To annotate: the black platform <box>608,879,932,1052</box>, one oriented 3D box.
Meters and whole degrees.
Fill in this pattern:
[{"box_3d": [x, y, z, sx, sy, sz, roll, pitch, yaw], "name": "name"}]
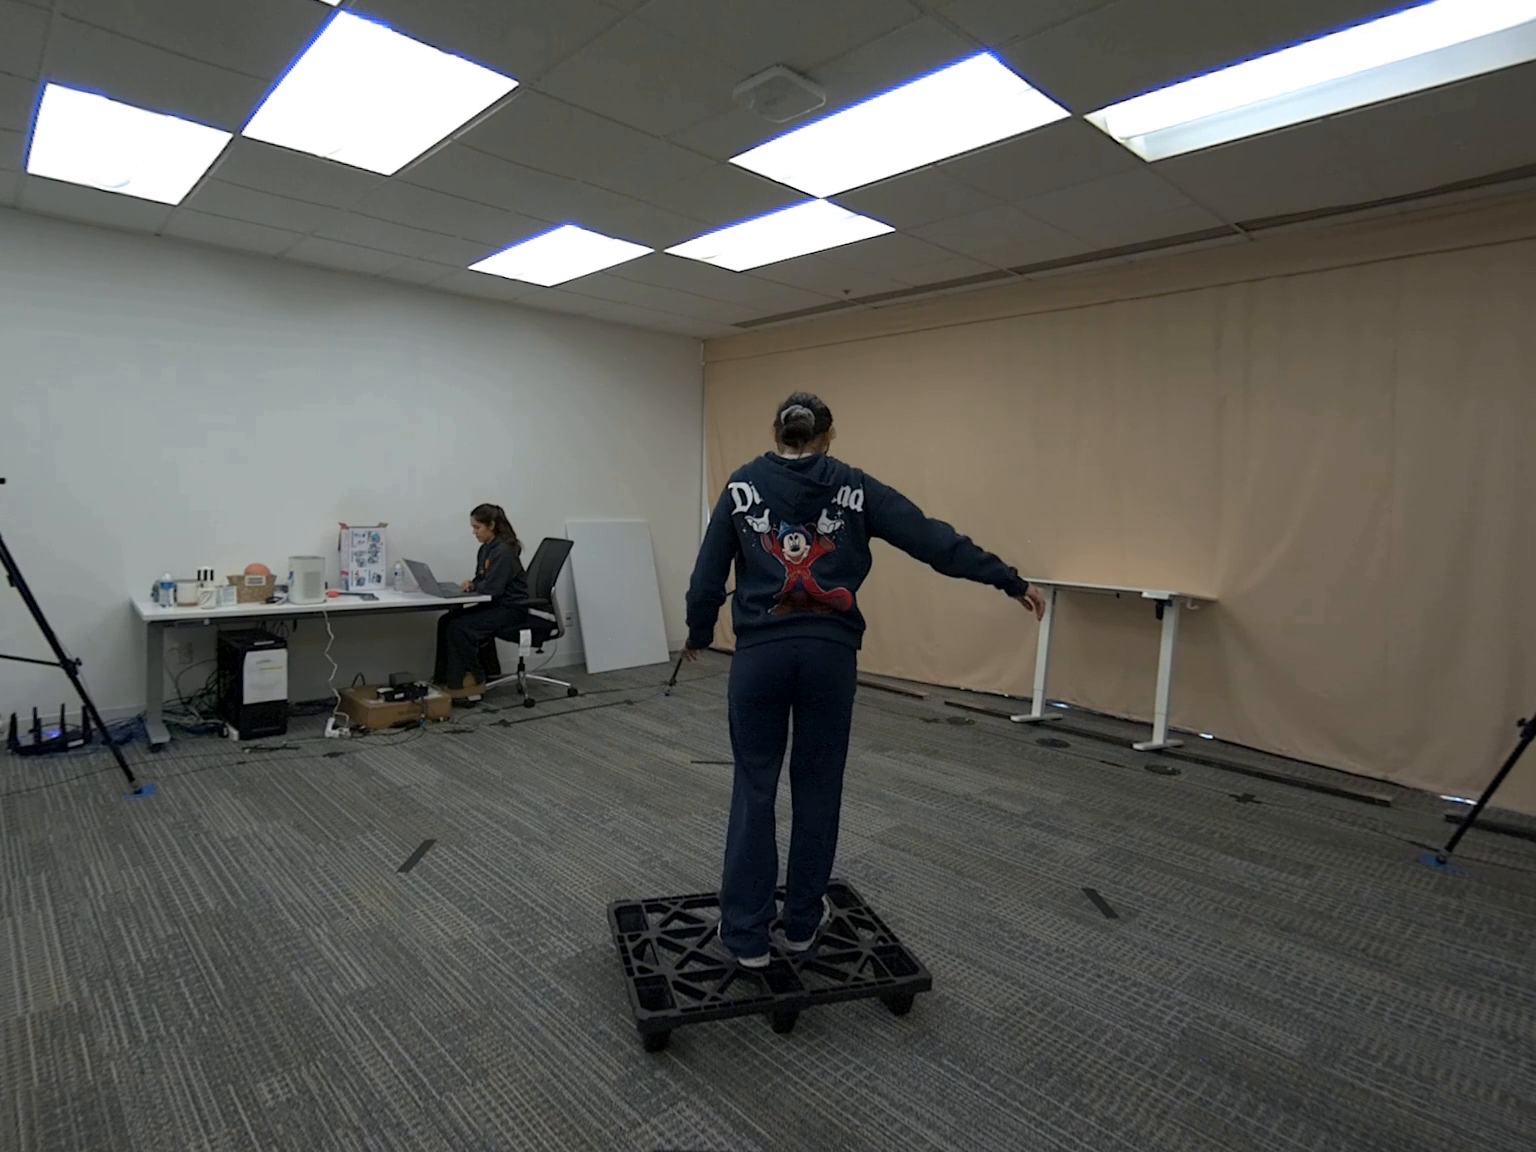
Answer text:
[{"box_3d": [-0.033, 1.104, 2.422, 0.795, 0.143, 0.615, 0, 5, -17], "name": "black platform"}]
